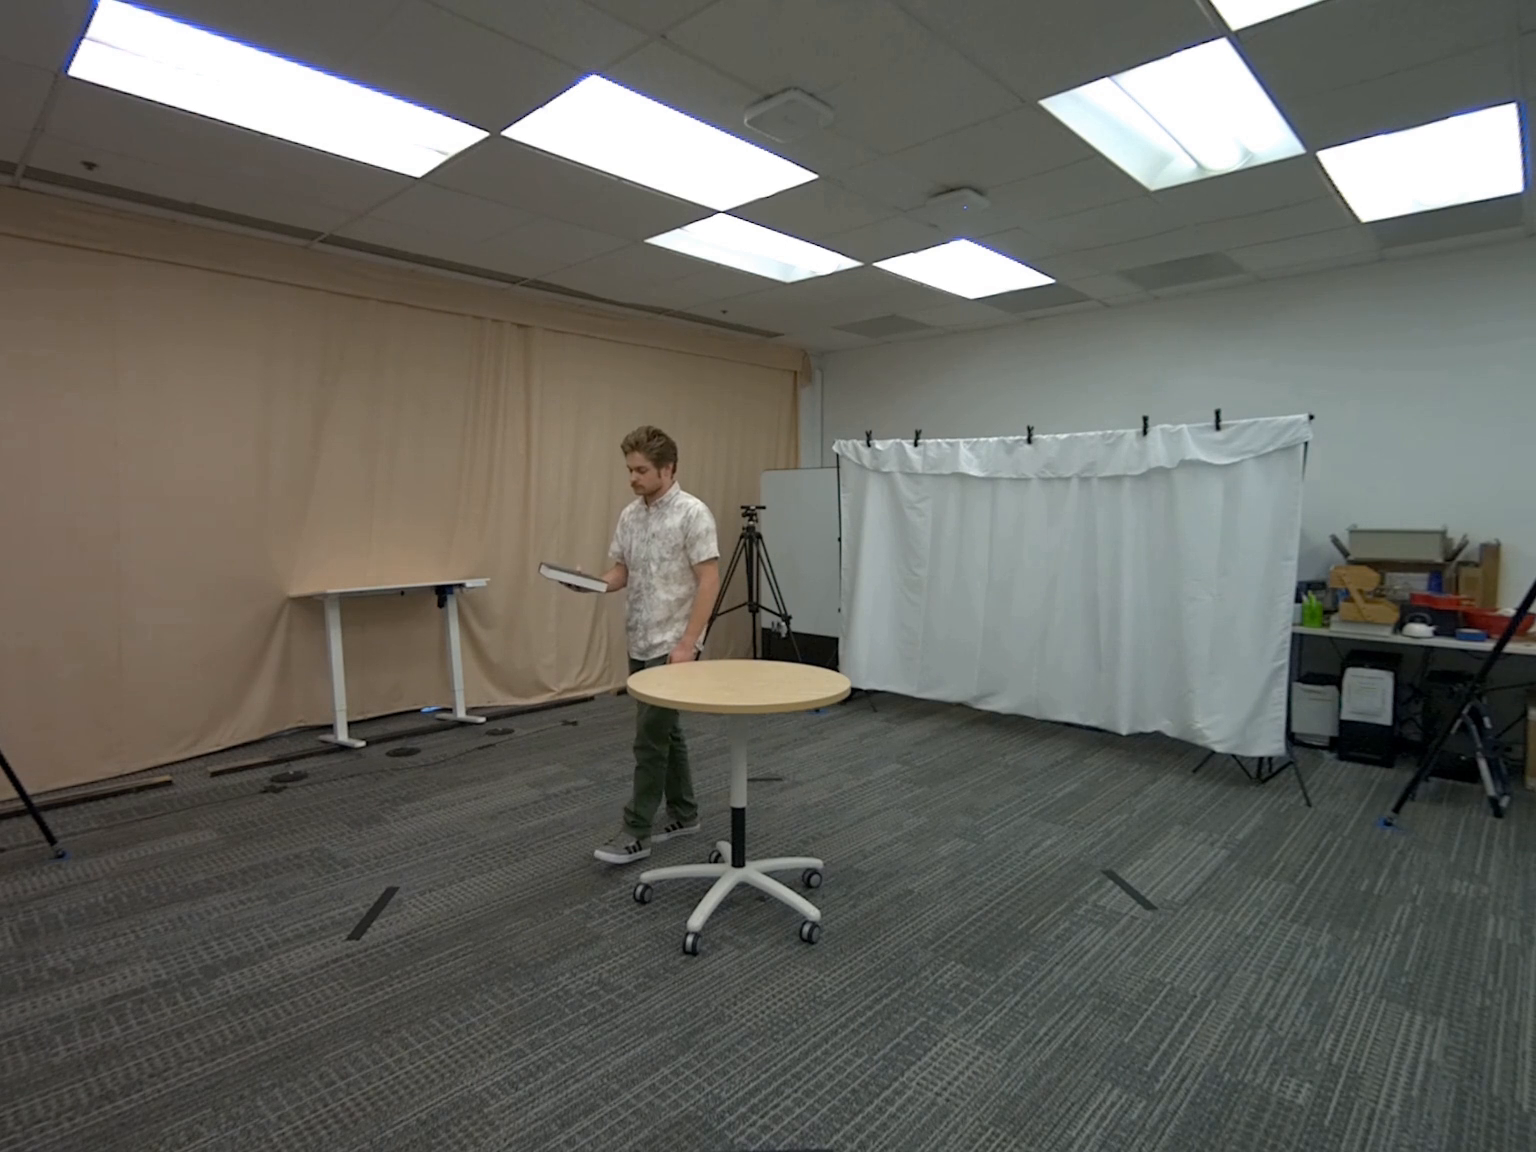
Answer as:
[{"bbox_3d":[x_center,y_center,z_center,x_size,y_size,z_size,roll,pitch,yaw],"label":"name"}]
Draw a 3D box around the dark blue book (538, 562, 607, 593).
[{"bbox_3d":[-0.778,0.005,3.305,0.238,0.045,0.168,16,0,-26],"label":"dark blue book"}]
